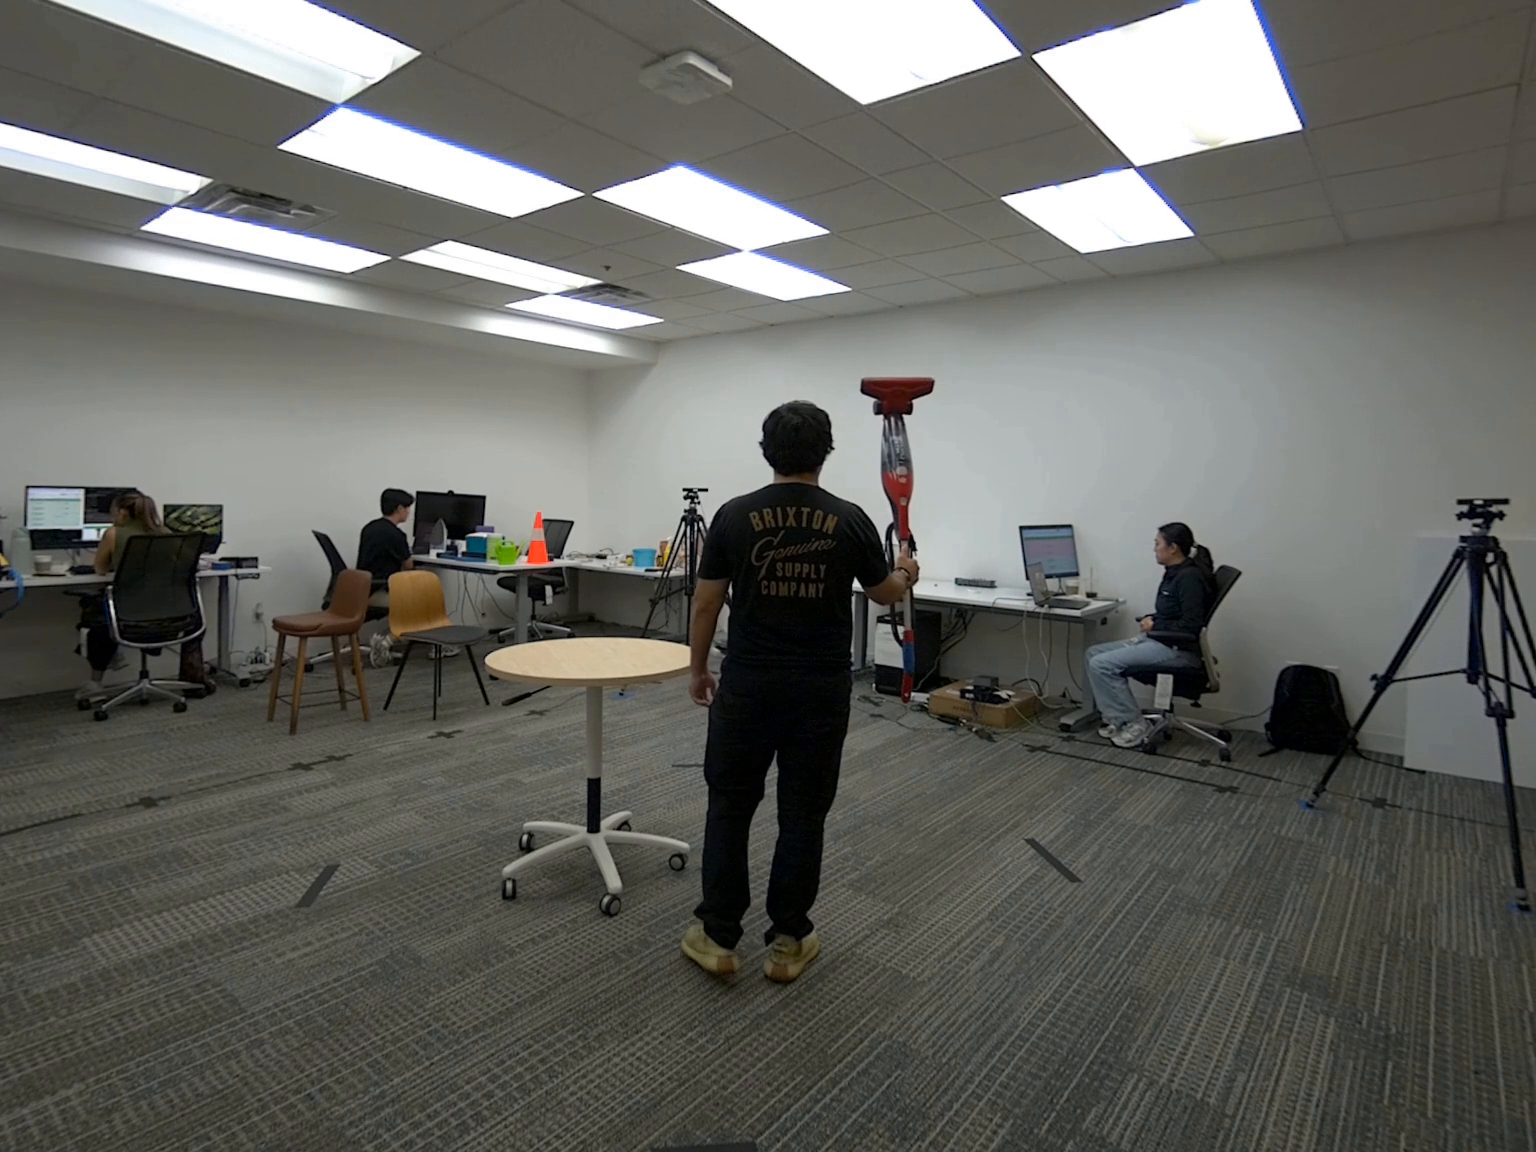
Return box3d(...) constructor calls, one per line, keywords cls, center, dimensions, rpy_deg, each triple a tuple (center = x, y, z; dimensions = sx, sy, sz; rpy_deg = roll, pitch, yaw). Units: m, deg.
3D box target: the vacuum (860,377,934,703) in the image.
box3d(cls="vacuum", center=(0.452, -0.126, 2.897), dimensions=(0.252, 1.058, 0.143), rpy_deg=(0, -8, -1))
